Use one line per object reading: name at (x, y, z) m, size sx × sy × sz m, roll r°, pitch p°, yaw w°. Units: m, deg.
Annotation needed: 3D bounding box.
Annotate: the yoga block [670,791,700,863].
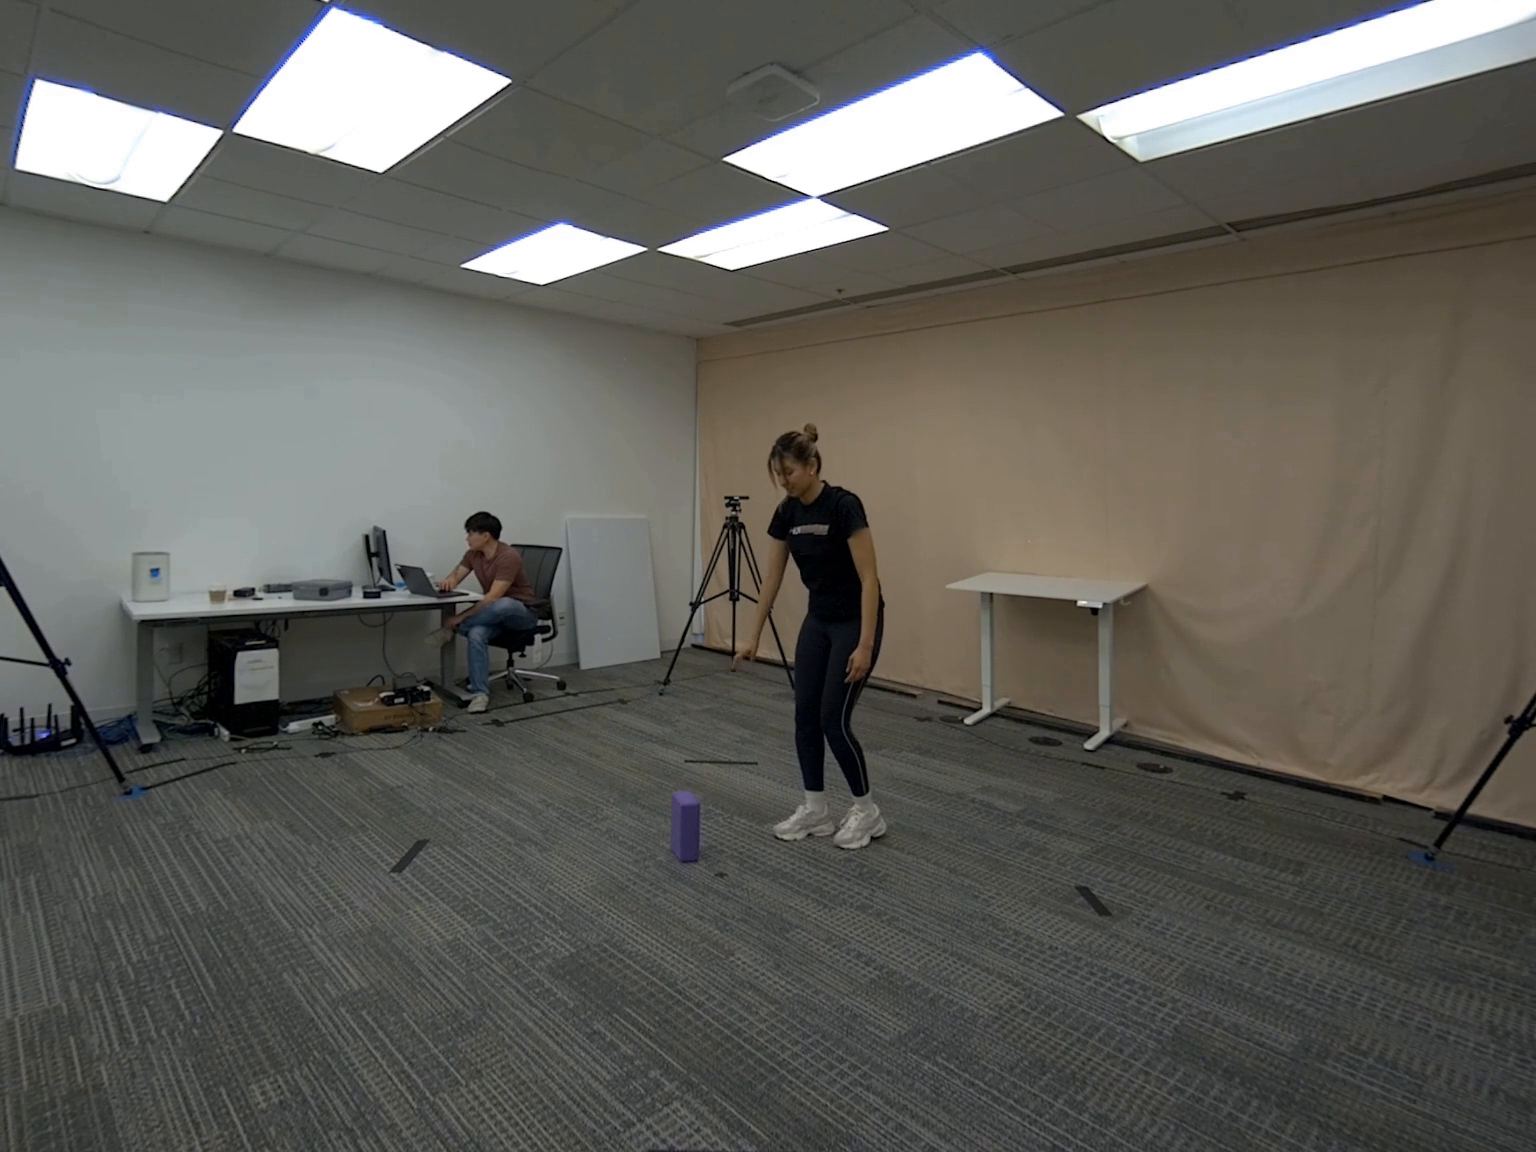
yoga block at (-0.329, 0.967, 3.262) m, size 0.075 × 0.229 × 0.152 m, roll 0°, pitch 4°, yaw -22°
